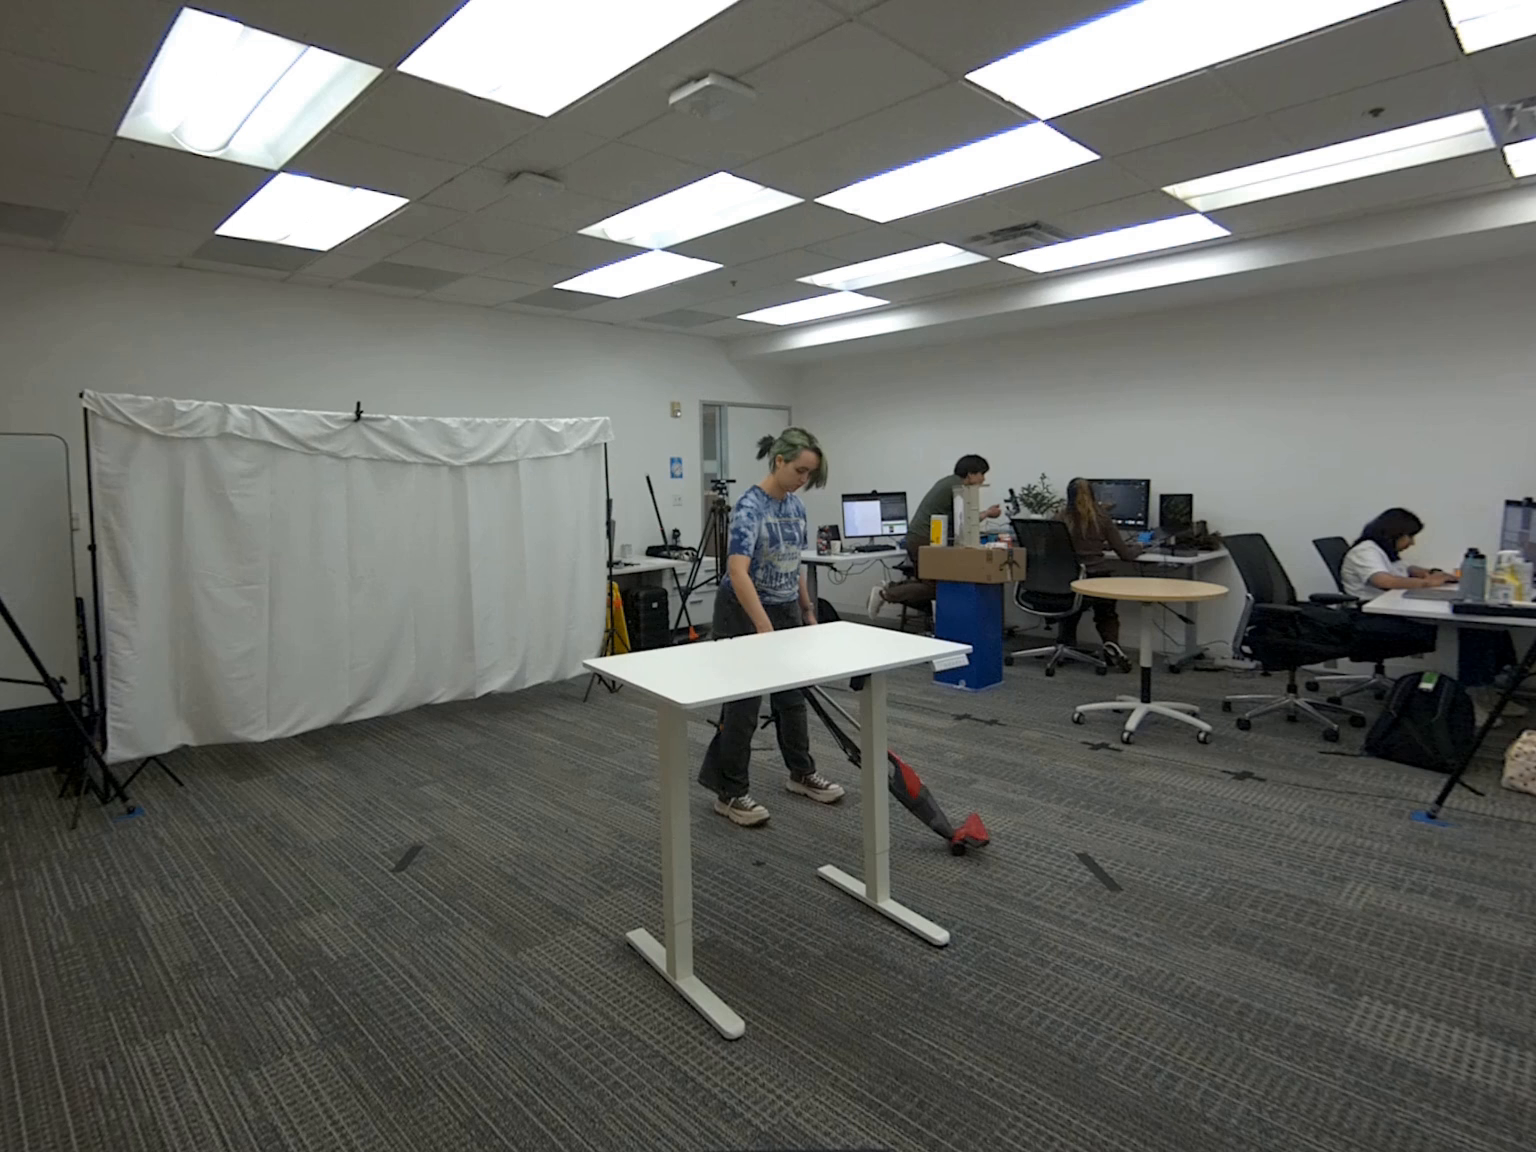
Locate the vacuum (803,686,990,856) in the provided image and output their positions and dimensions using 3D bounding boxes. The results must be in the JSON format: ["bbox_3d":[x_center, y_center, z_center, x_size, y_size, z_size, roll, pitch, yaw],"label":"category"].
[{"bbox_3d":[0.368,0.648,3.225,1.055,0.144,0.251,41,9,4],"label":"vacuum"}]
